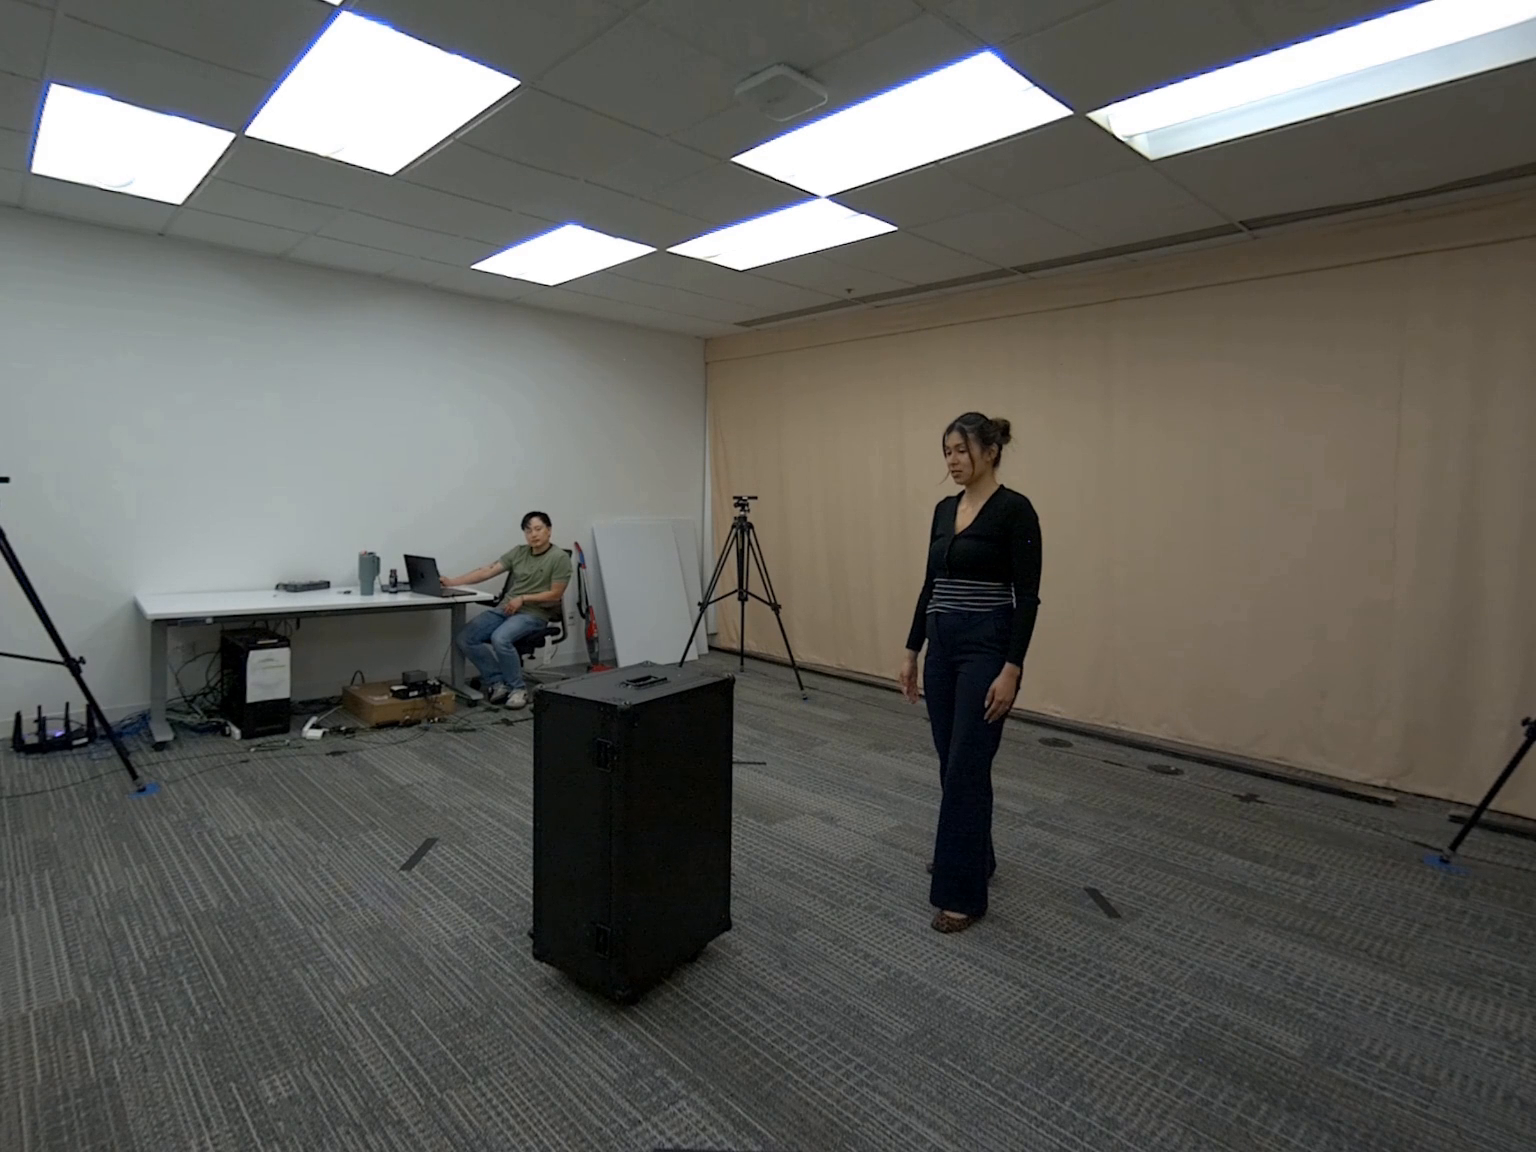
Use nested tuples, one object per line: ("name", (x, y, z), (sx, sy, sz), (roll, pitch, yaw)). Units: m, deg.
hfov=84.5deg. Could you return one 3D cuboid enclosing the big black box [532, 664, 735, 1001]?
("big black box", (-0.403, 0.733, 2.463), (0.405, 0.859, 0.510), (2, 4, 35))
